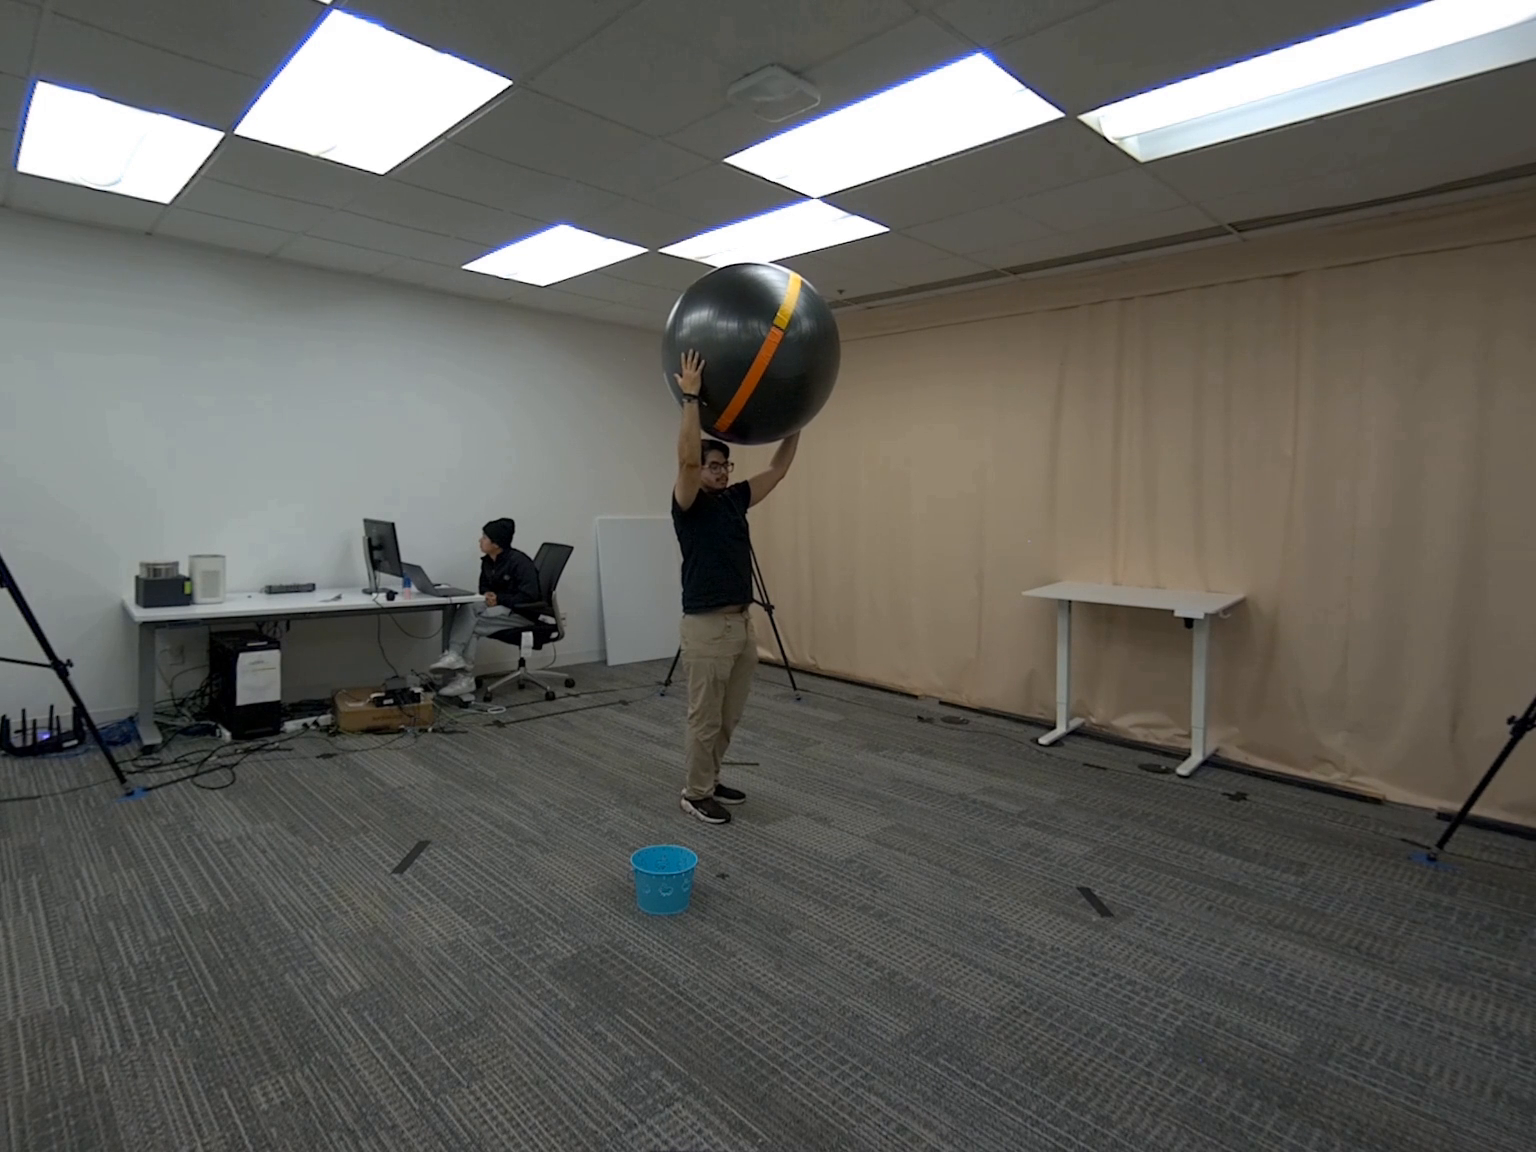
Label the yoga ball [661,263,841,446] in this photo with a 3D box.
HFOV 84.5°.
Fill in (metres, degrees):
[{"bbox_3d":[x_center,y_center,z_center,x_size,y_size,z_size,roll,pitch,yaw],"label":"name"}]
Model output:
[{"bbox_3d":[-0.075,-0.932,3.570,0.757,0.756,0.761,1,4,-1],"label":"yoga ball"}]
